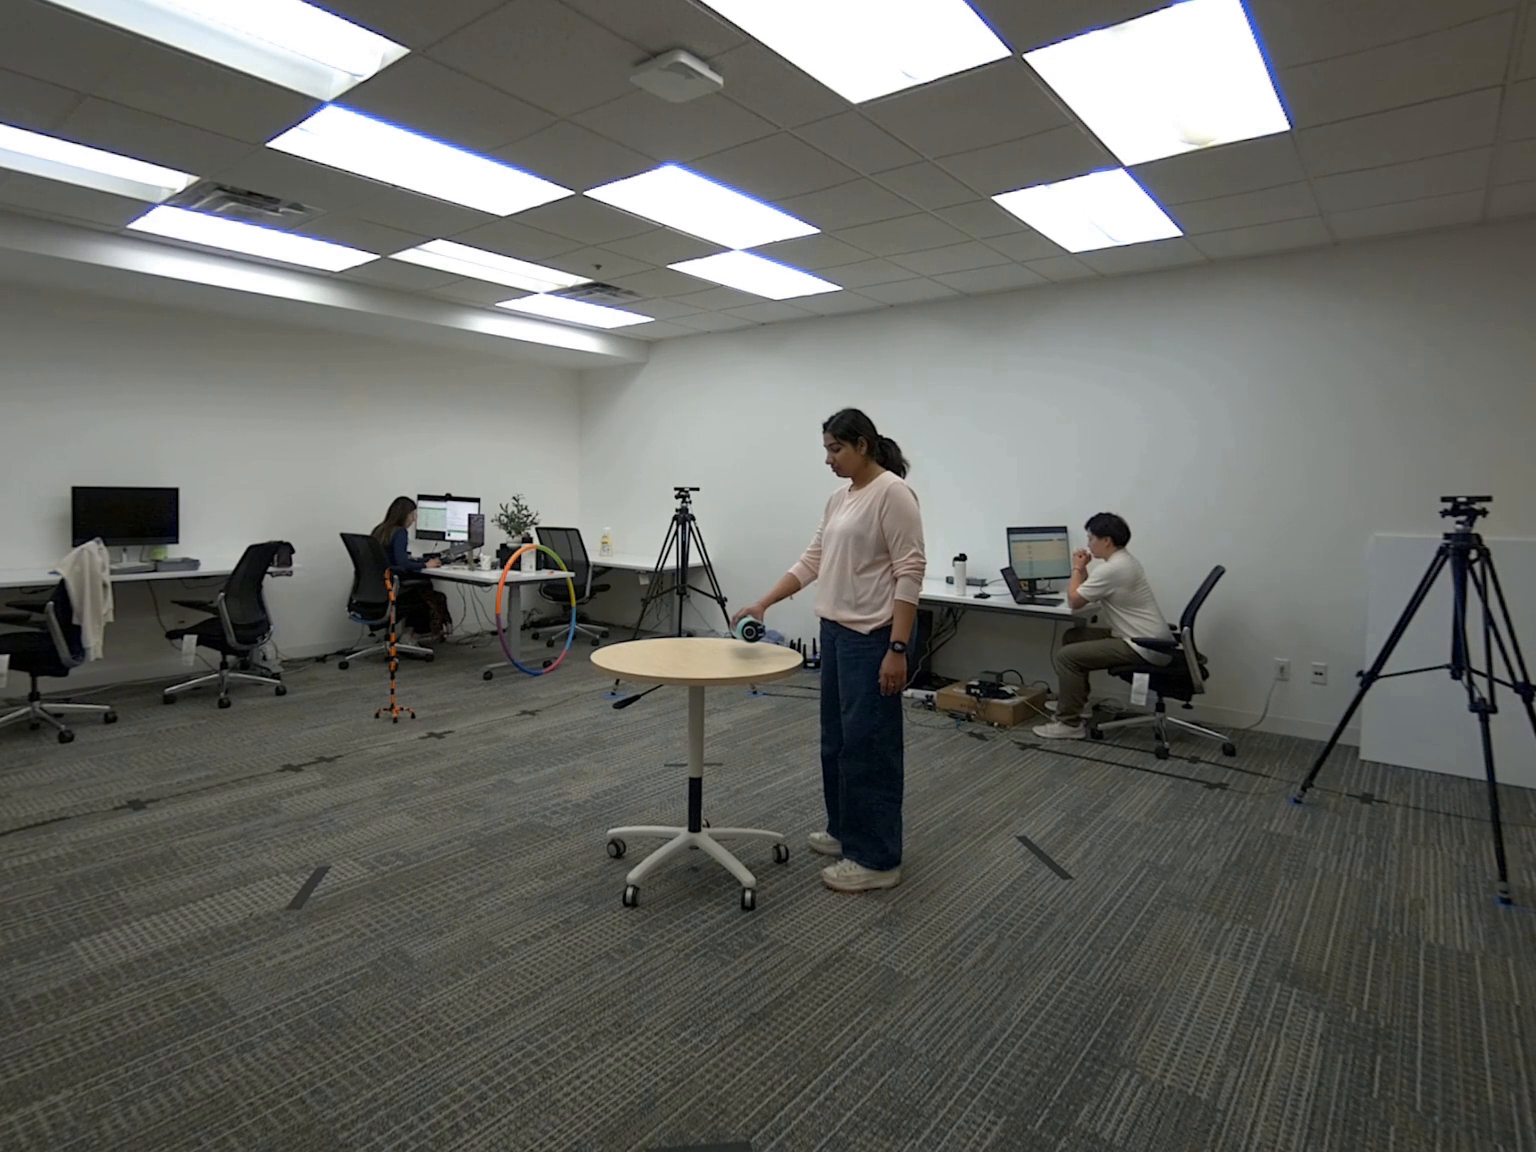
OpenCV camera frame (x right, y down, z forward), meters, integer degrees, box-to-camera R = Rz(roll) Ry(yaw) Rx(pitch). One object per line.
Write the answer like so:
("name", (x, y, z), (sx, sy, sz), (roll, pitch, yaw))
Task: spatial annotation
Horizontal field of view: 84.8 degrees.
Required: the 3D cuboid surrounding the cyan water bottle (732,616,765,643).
("cyan water bottle", (-0.086, 0.197, 3.129), (0.091, 0.092, 0.287), (0, 2, -12))
